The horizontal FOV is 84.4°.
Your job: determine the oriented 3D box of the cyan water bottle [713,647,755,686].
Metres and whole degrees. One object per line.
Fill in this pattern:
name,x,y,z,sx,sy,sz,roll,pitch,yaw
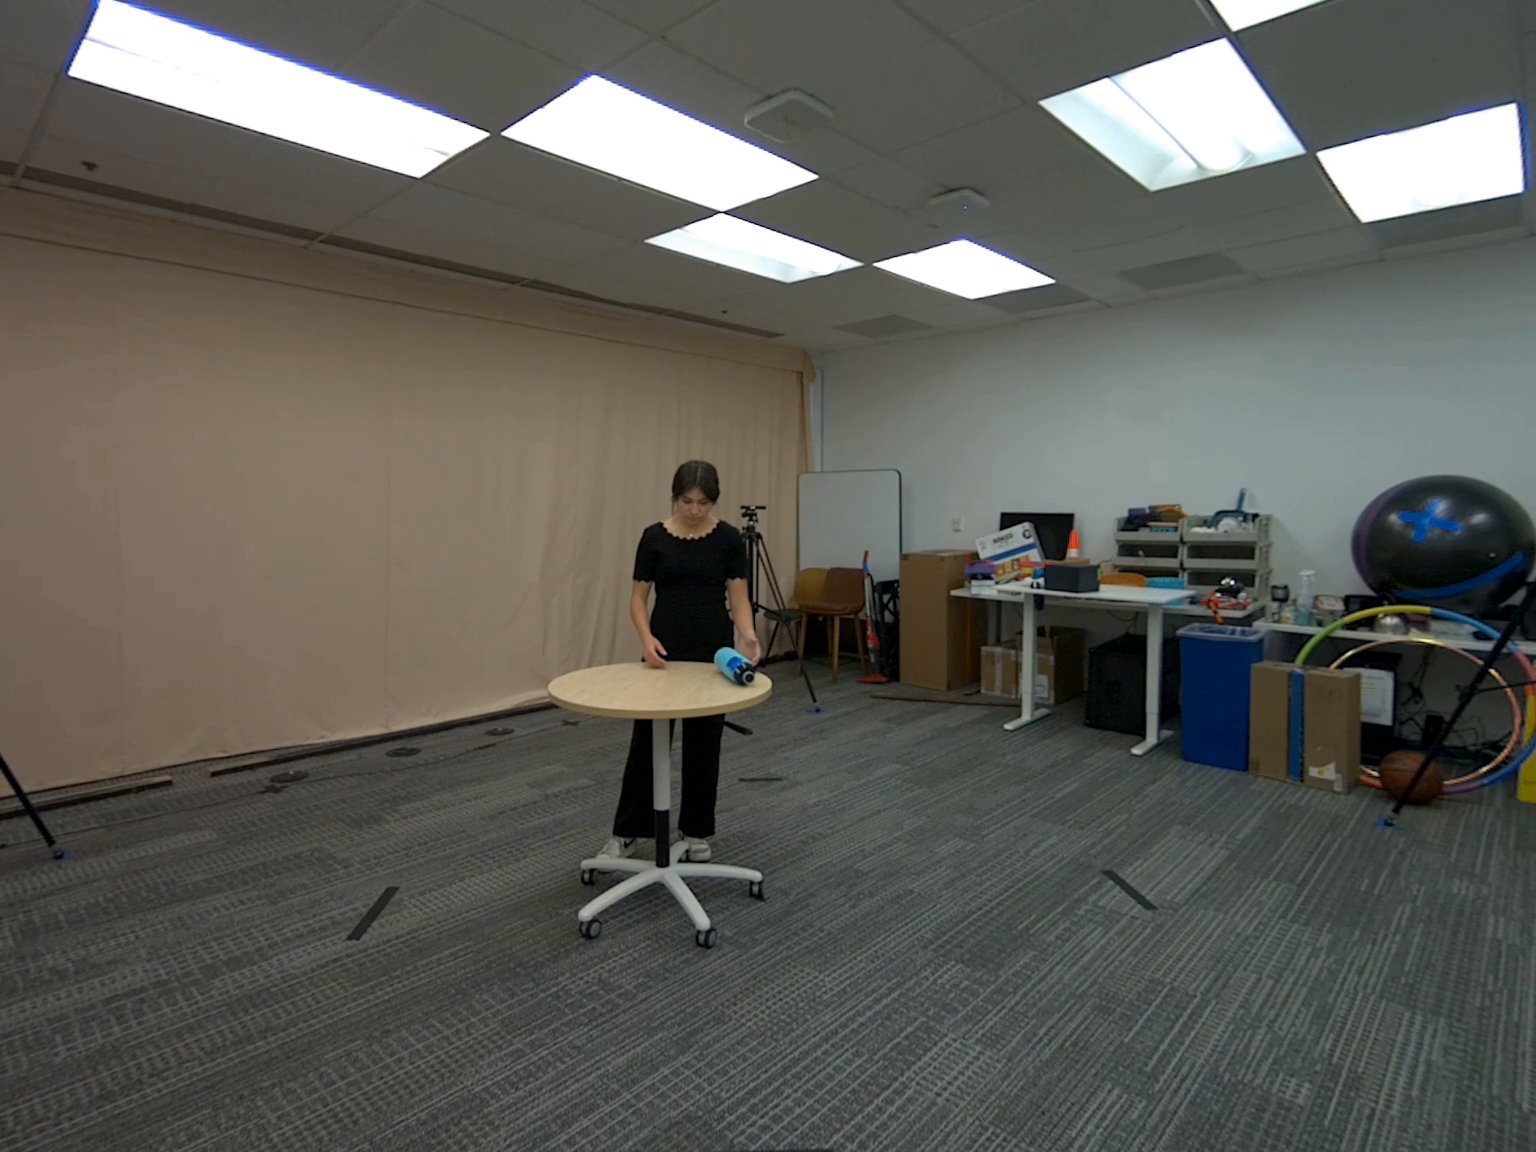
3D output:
cyan water bottle,-0.114,0.318,2.948,0.091,0.092,0.288,-1,5,-15
